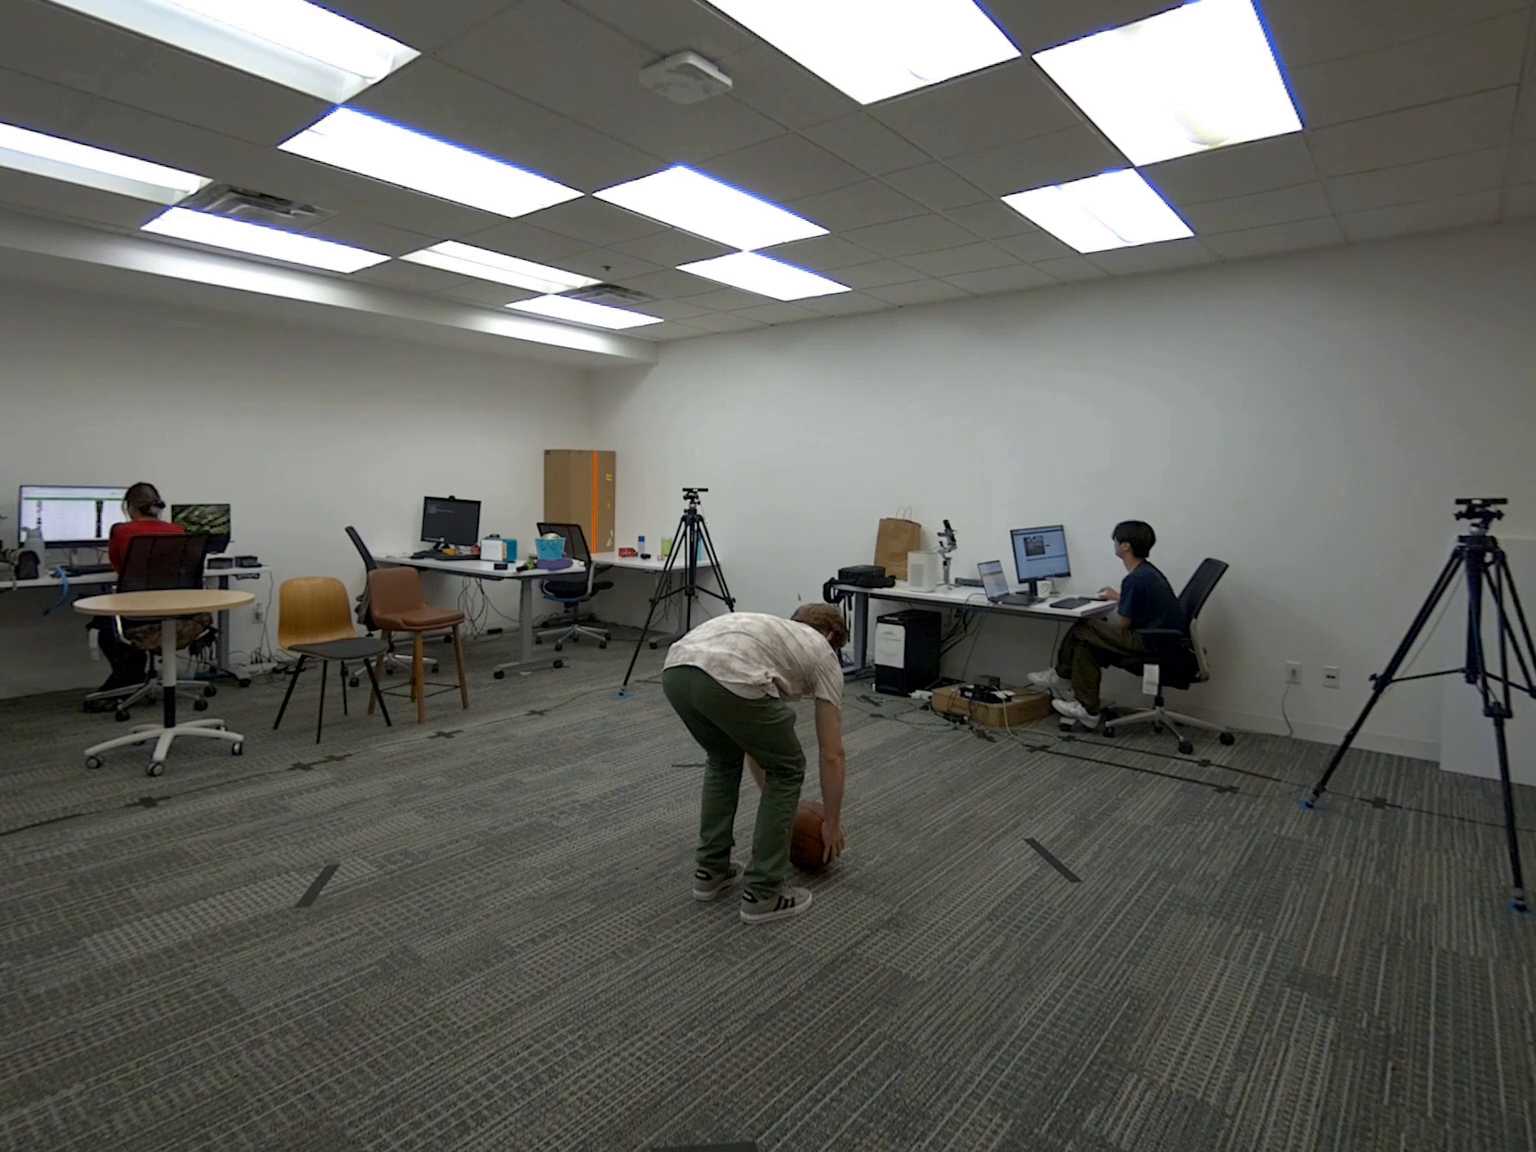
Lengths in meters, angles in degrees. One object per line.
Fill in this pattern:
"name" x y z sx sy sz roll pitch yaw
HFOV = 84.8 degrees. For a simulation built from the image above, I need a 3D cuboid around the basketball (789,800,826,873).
"basketball" 0.145 0.947 3.143 0.235 0.235 0.237 1 4 -2
